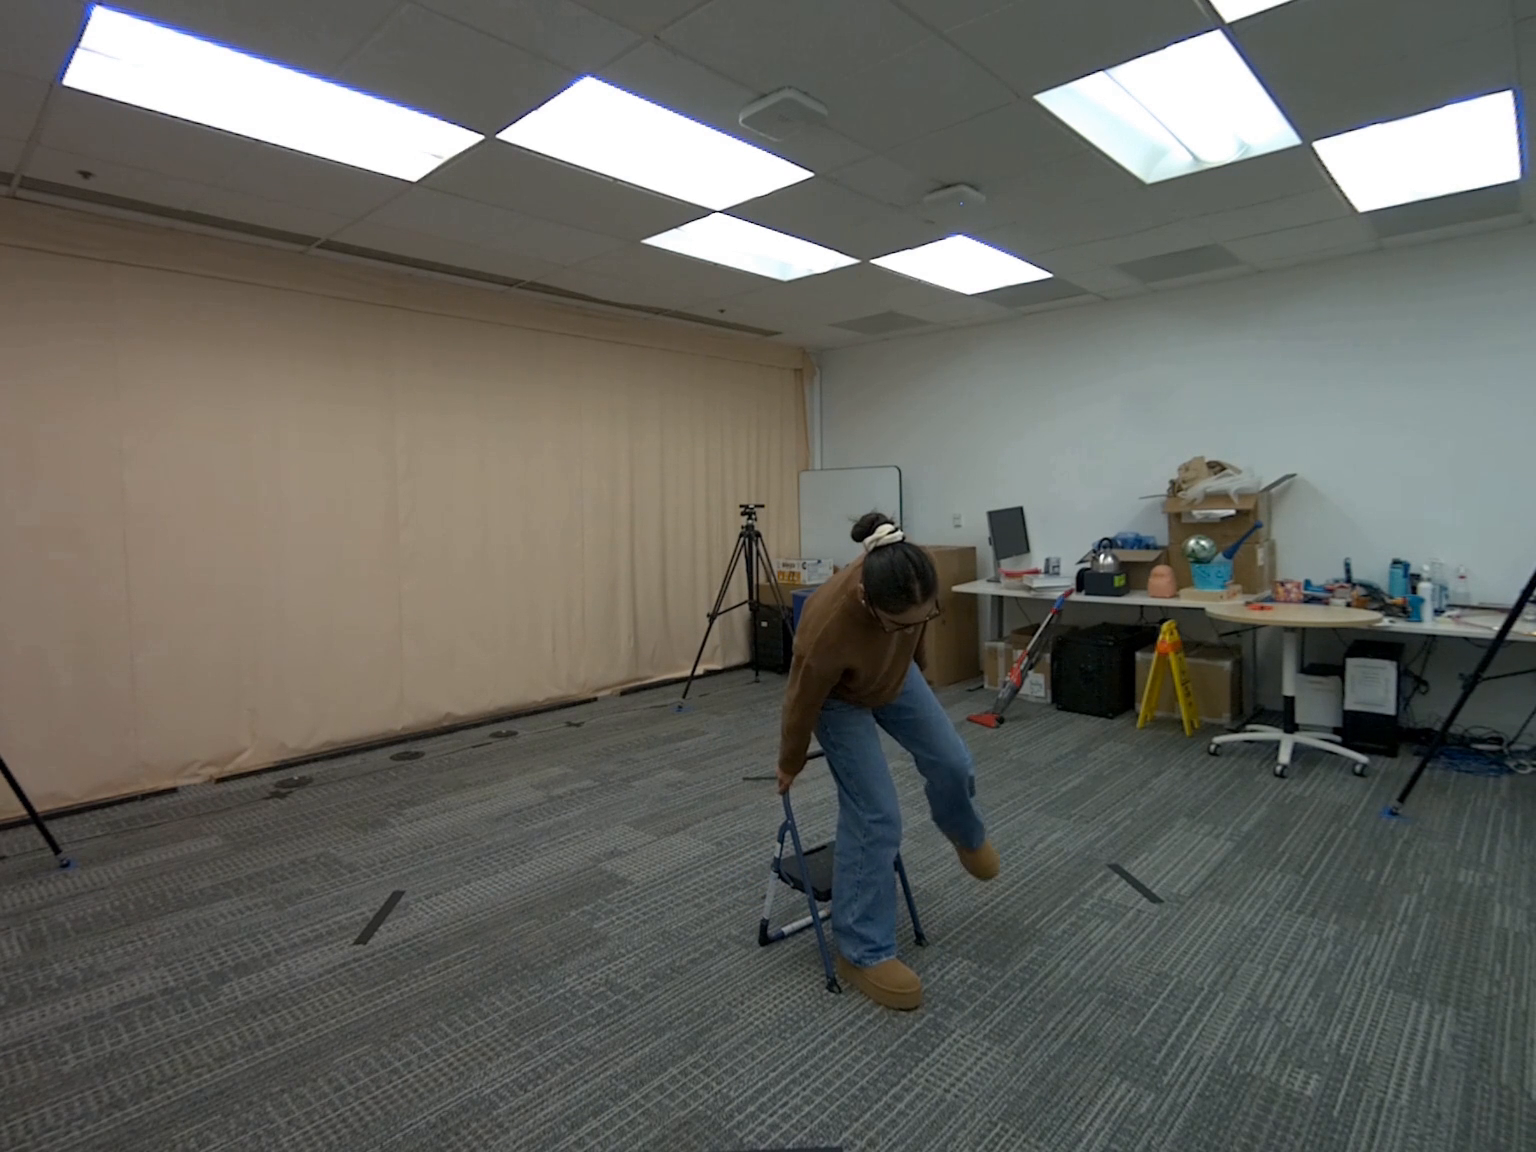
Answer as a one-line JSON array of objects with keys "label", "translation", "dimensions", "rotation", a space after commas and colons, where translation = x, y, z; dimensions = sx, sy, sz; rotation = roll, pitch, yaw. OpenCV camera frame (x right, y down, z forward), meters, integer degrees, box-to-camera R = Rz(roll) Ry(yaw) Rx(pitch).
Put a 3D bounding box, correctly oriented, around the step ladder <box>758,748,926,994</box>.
[{"label": "step ladder", "translation": [0.233, 0.864, 2.641], "dimensions": [0.418, 0.605, 0.361], "rotation": [-4, 4, -40]}]
